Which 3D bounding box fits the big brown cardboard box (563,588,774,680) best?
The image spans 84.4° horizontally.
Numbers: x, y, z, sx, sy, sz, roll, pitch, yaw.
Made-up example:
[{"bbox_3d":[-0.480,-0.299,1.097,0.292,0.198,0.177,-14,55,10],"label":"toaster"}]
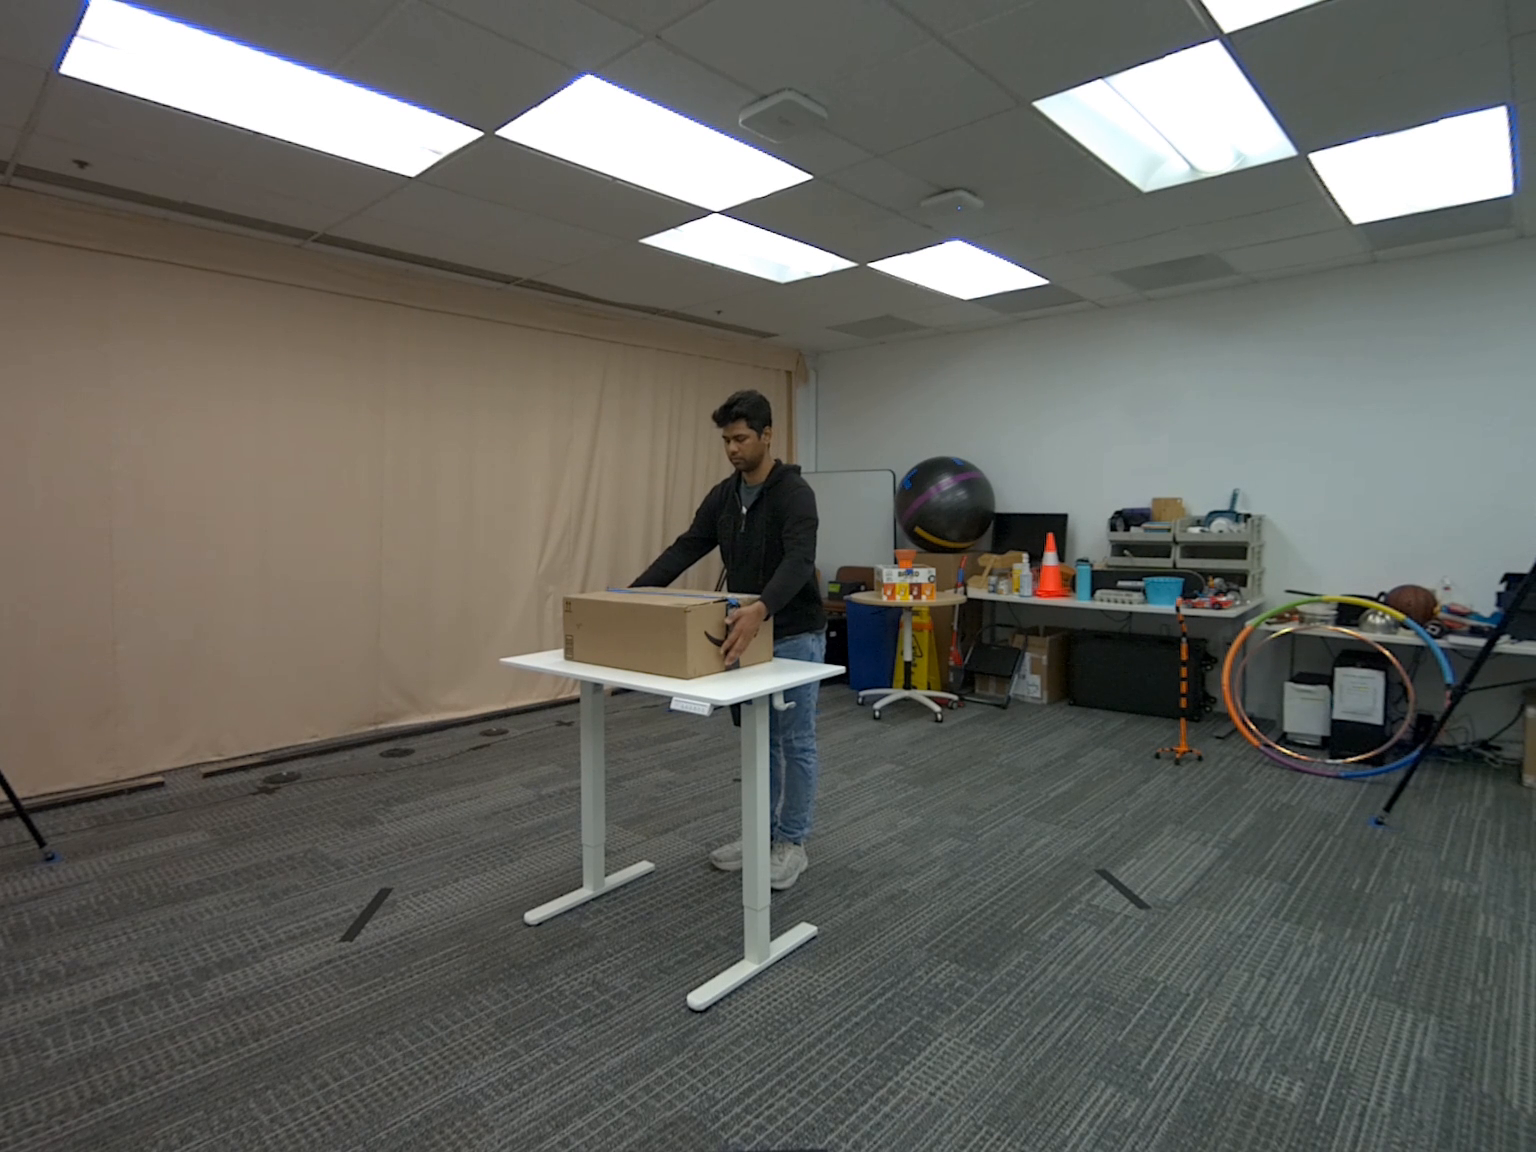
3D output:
[{"bbox_3d":[-0.325,0.170,2.795,0.608,0.233,0.405,2,4,39],"label":"big brown cardboard box"}]
